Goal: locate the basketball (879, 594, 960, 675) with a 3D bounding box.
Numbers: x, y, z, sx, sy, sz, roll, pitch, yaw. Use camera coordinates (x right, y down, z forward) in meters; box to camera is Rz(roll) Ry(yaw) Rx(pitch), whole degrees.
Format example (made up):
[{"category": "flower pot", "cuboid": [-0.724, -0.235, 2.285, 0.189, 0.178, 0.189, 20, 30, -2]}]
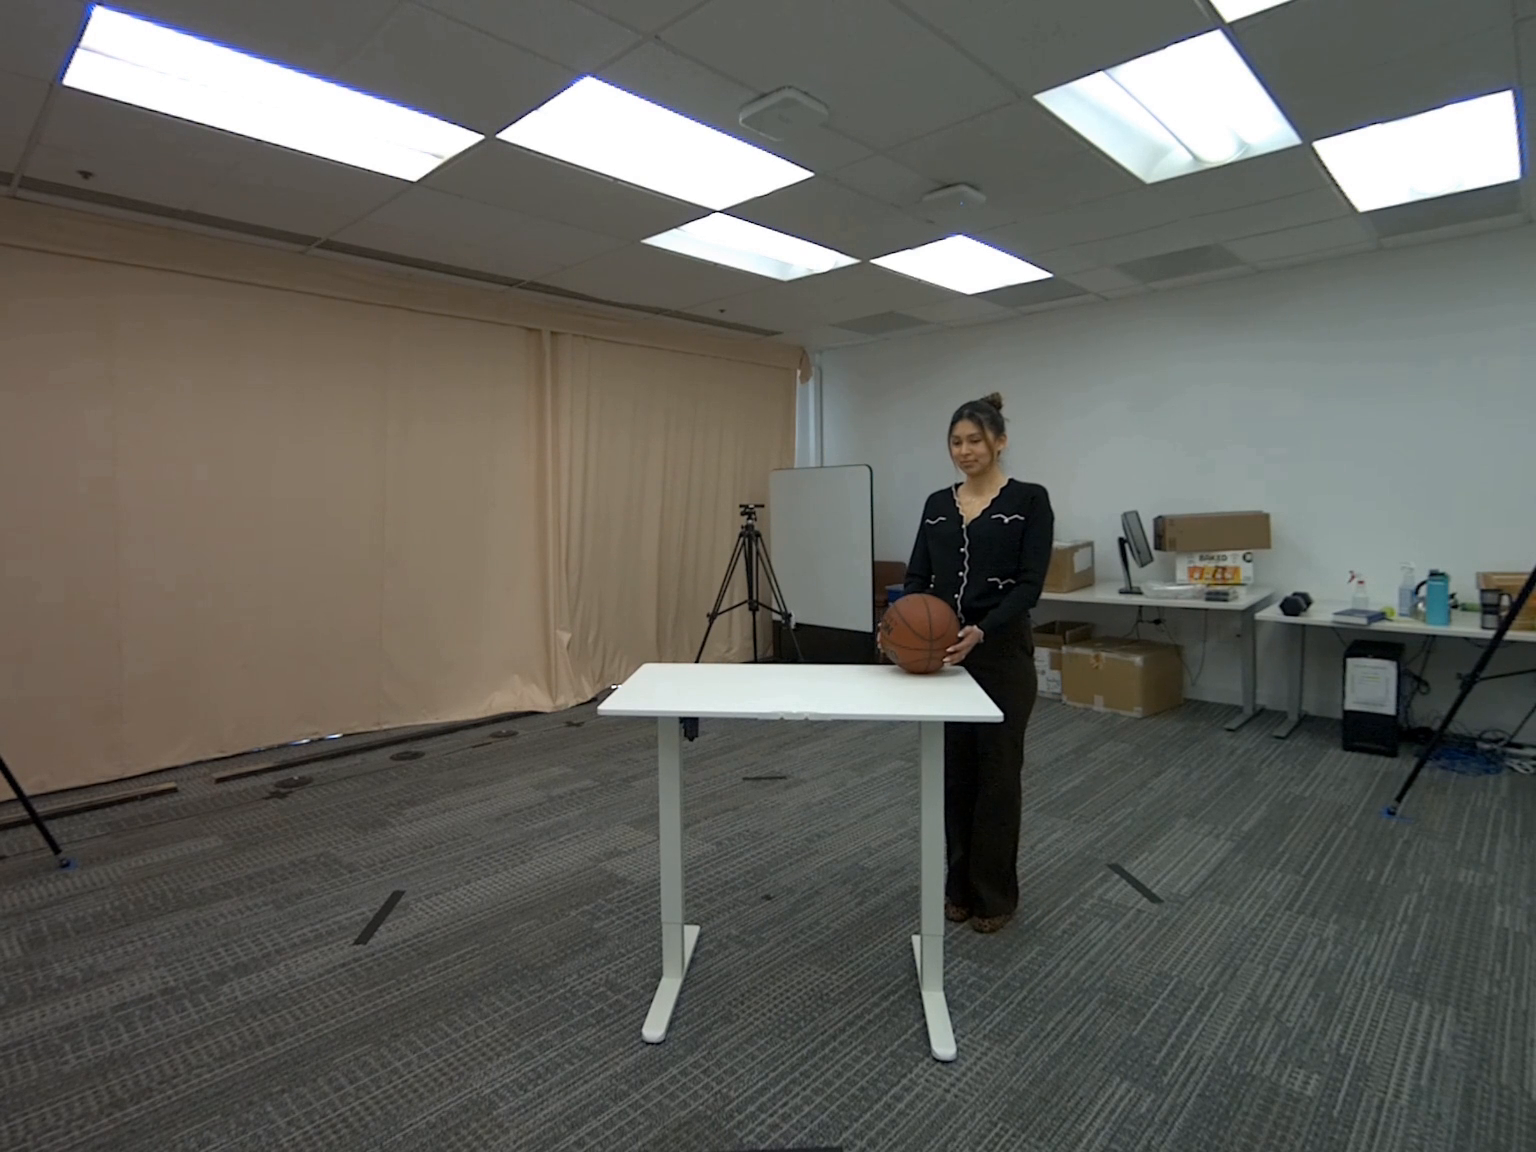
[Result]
[{"category": "basketball", "cuboid": [0.459, 0.172, 2.524, 0.236, 0.235, 0.237, -1, 4, -2]}]
